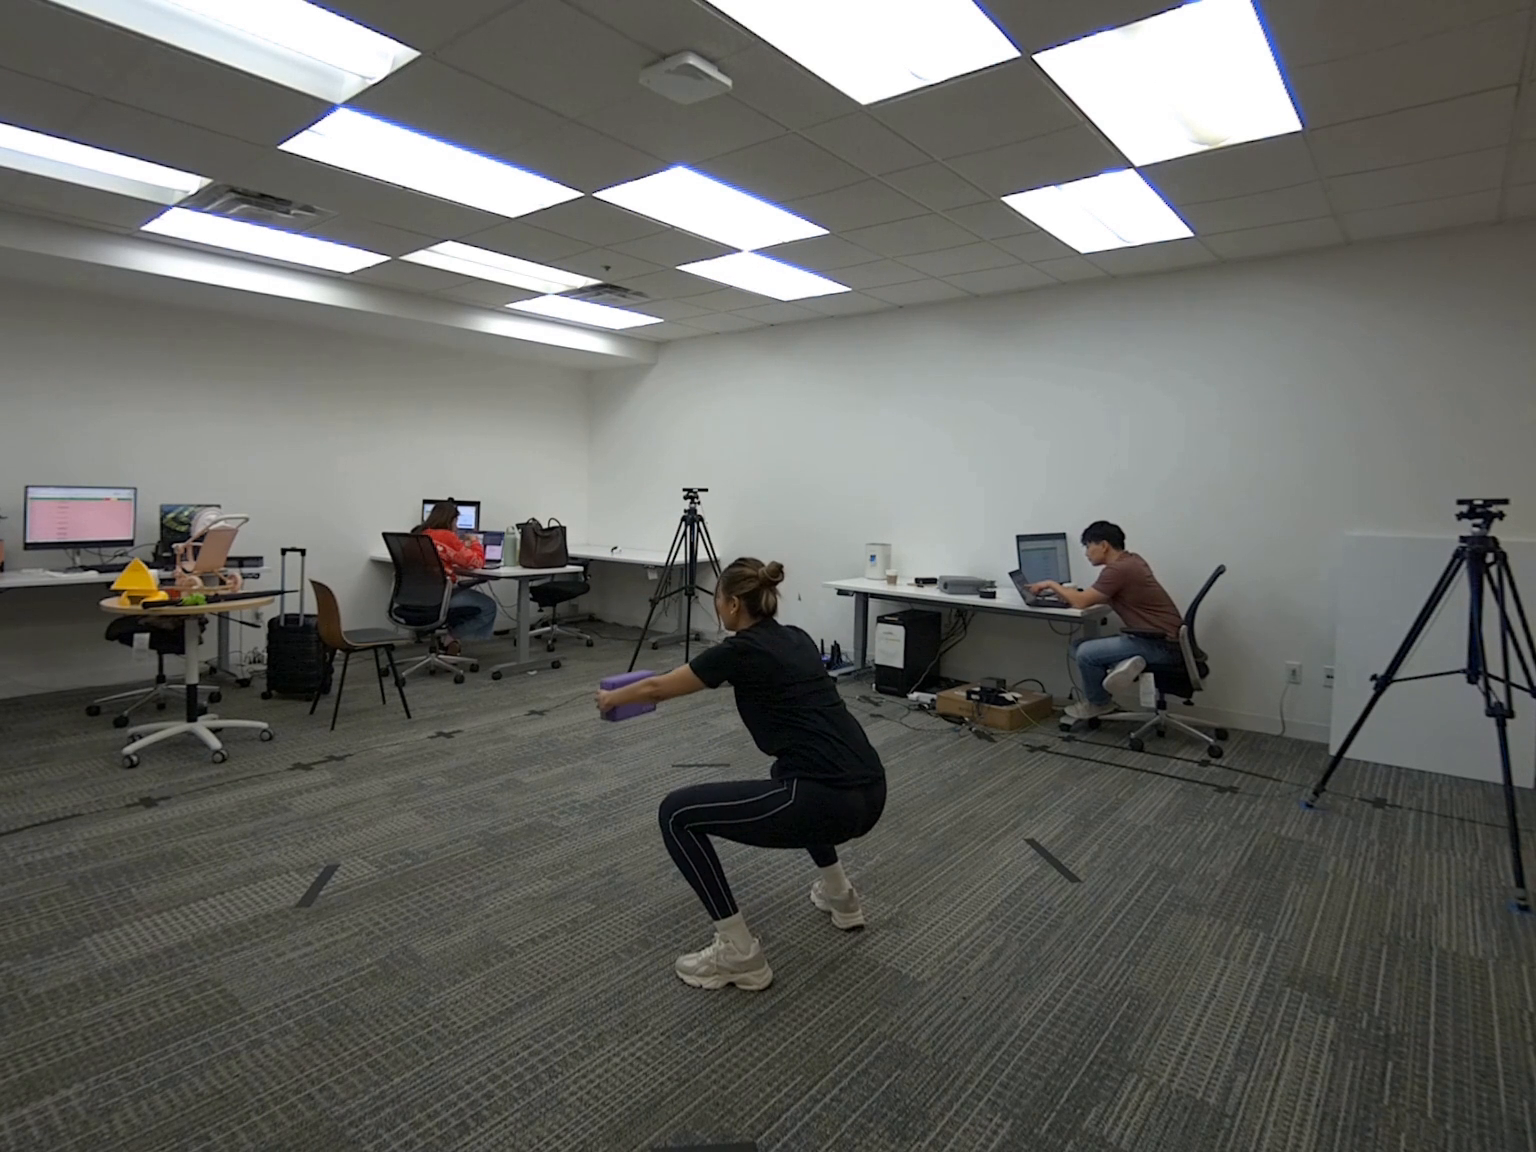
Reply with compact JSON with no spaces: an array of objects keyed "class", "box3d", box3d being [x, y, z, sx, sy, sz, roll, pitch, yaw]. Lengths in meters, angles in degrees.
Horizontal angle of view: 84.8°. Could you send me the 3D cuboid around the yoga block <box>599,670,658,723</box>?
[{"class":"yoga block","box3d":[-0.519,0.431,3.083,0.079,0.149,0.222,1,3,37]}]
